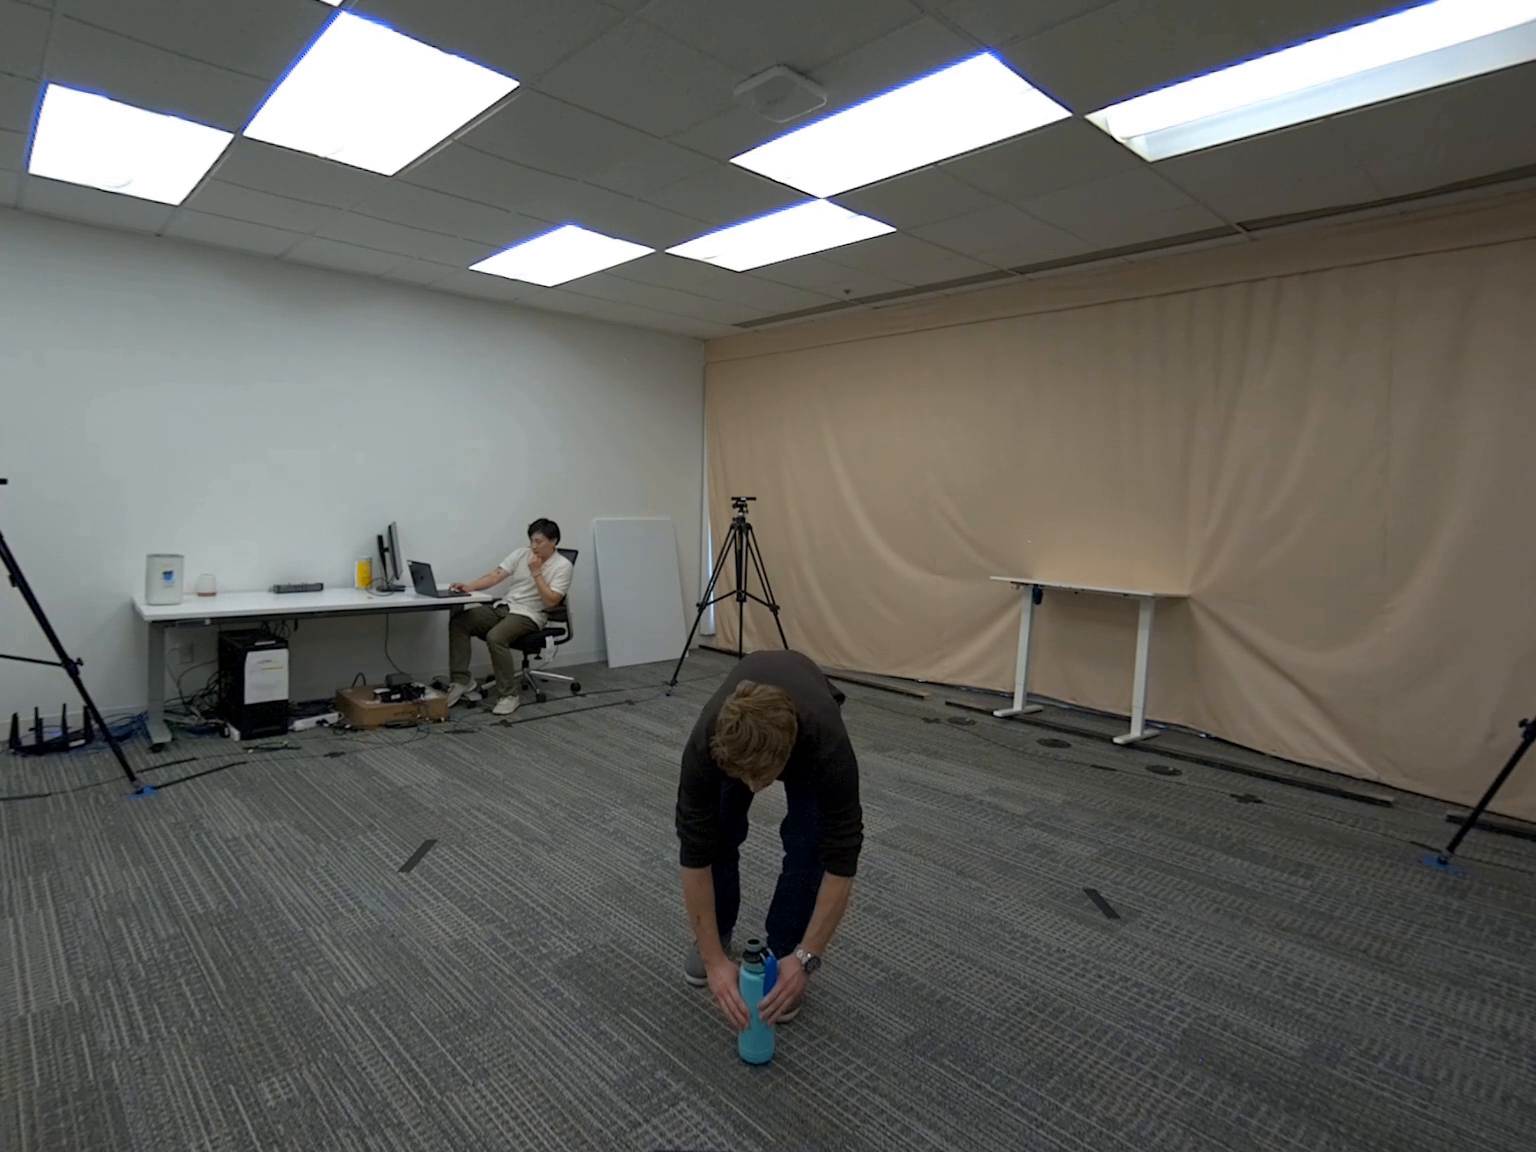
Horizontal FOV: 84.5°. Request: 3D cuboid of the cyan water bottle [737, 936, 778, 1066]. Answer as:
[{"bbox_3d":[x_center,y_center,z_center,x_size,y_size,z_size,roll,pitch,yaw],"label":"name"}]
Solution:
[{"bbox_3d":[-0.029,1.047,2.085,0.092,0.282,0.093,4,8,-2],"label":"cyan water bottle"}]
